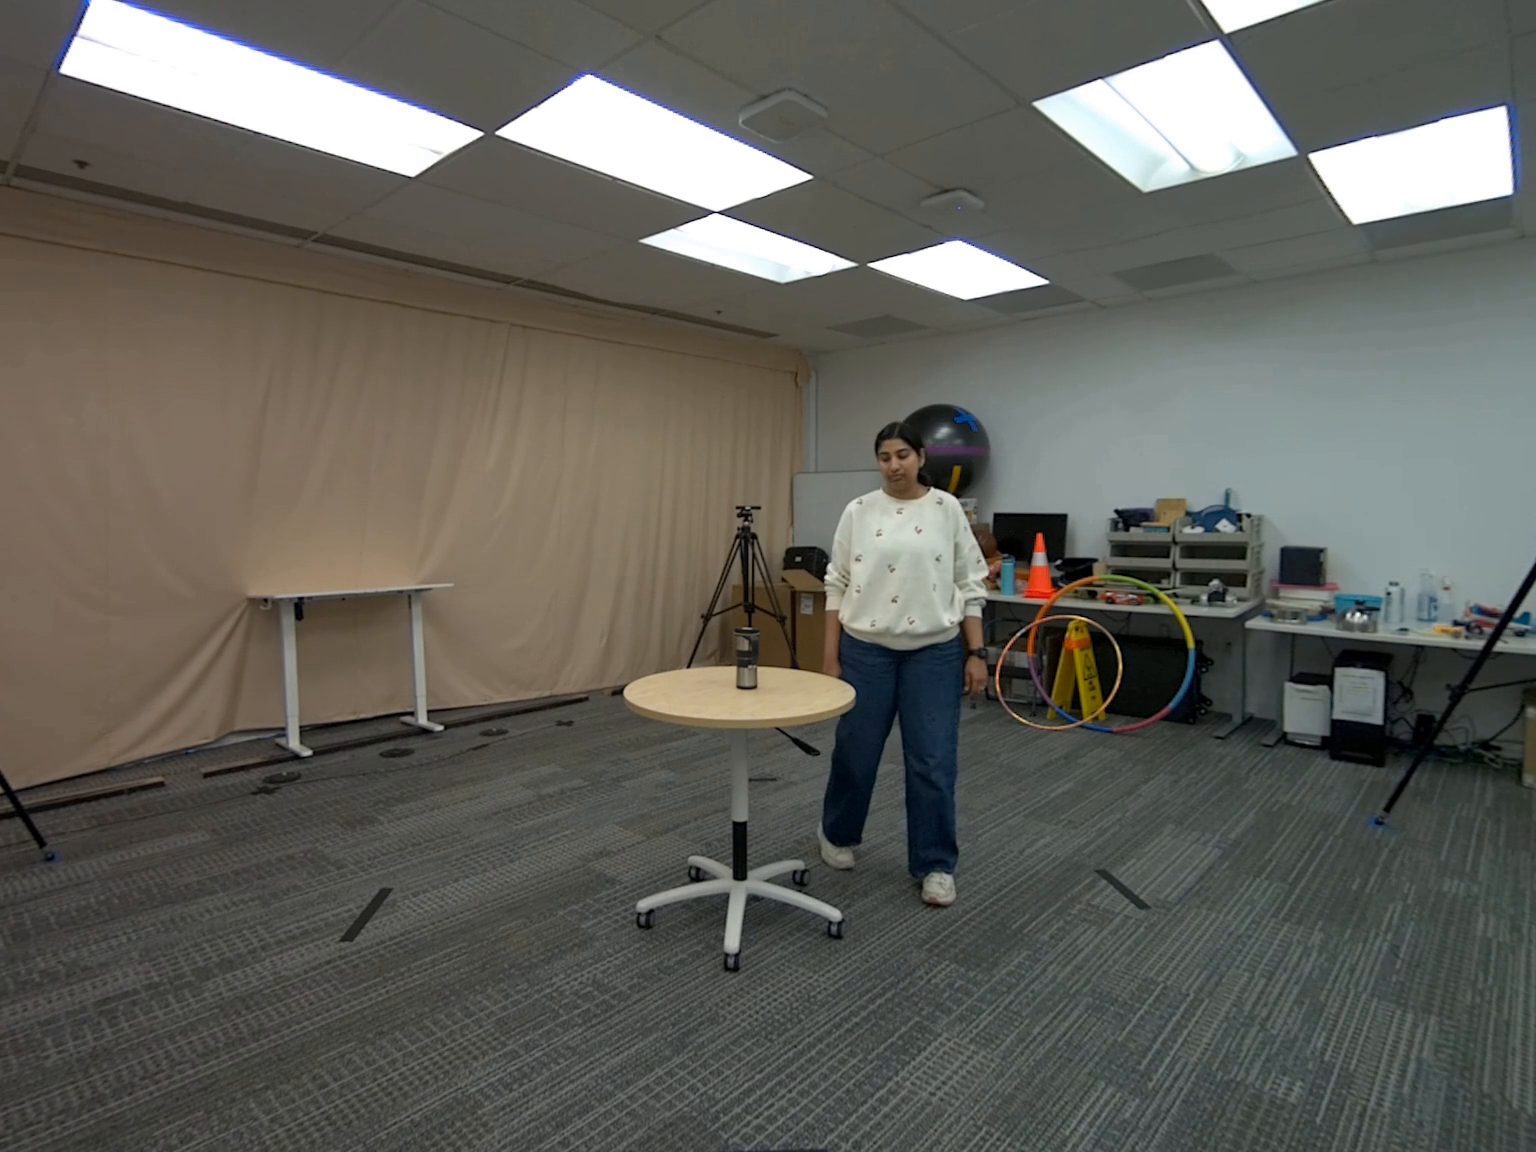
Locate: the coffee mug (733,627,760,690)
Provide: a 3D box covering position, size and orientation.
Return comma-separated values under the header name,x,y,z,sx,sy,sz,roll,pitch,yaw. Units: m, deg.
name,x,y,z,sx,sy,sz,roll,pitch,yaw
coffee mug,-0.081,0.279,2.801,0.091,0.202,0.118,7,5,38
